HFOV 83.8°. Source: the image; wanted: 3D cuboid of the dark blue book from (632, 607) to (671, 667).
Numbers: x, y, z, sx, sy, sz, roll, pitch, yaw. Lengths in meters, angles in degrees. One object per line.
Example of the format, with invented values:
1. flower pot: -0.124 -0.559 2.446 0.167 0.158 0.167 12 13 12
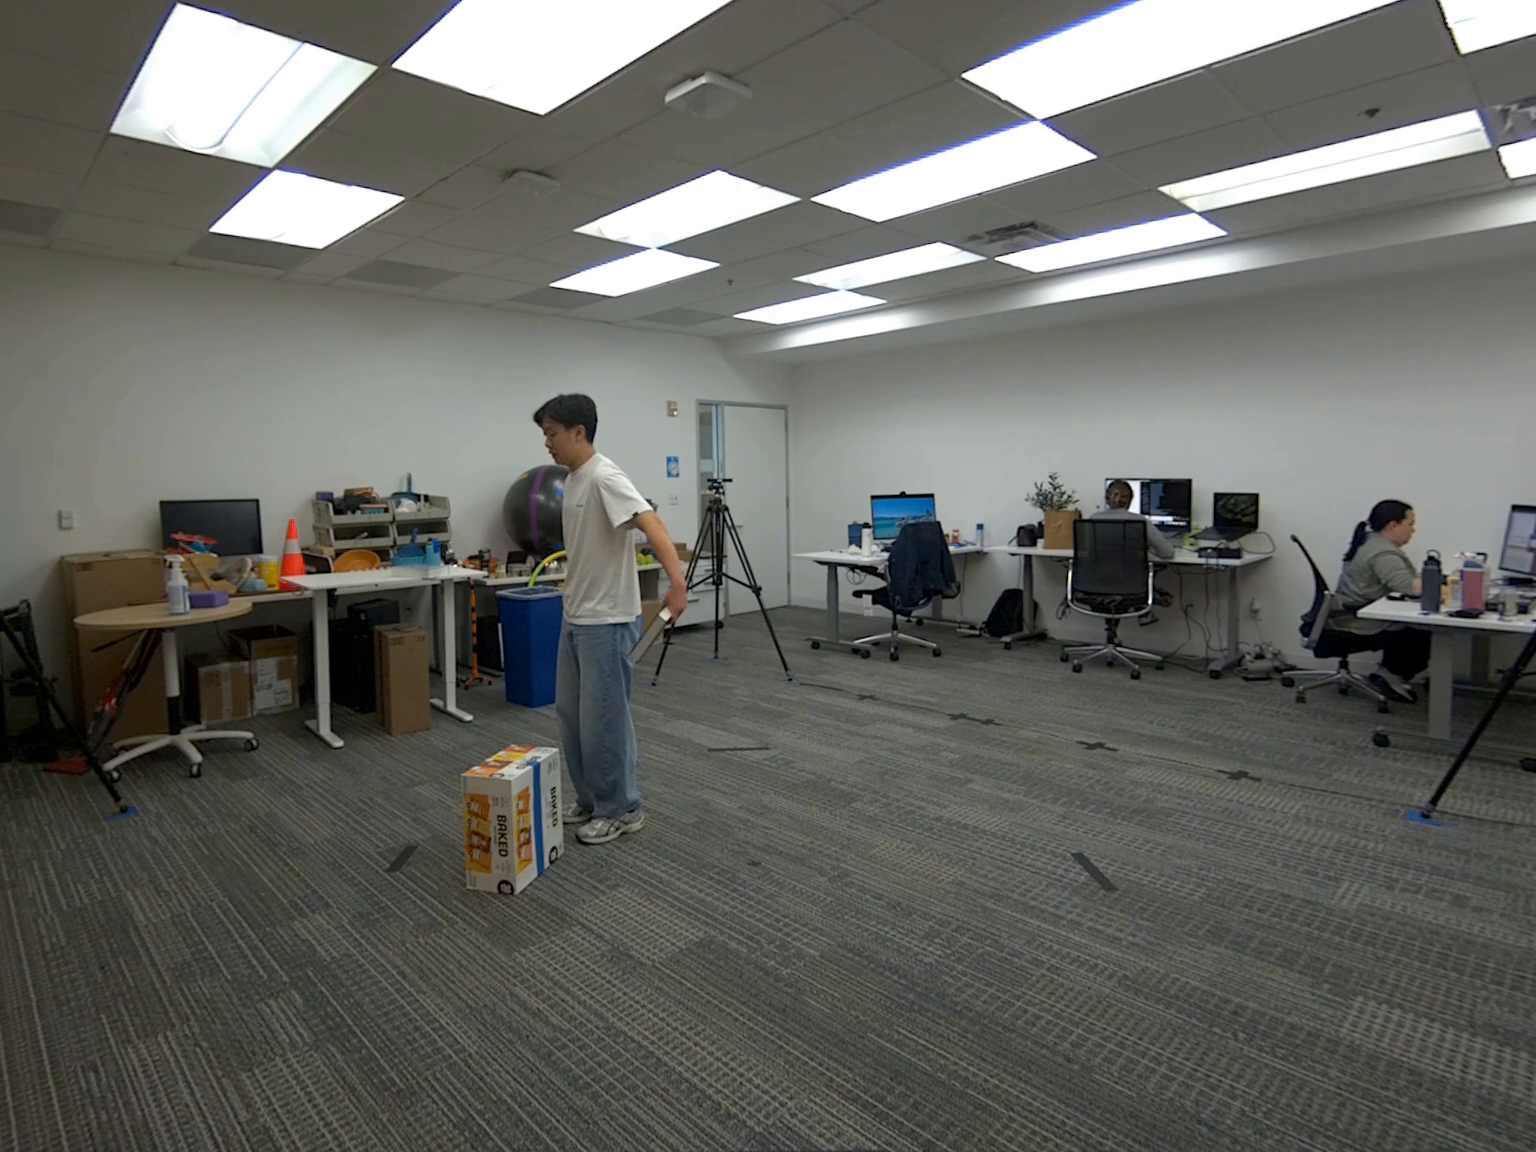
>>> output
1. dark blue book: -0.408 0.194 3.103 0.045 0.244 0.164 36 31 -3
